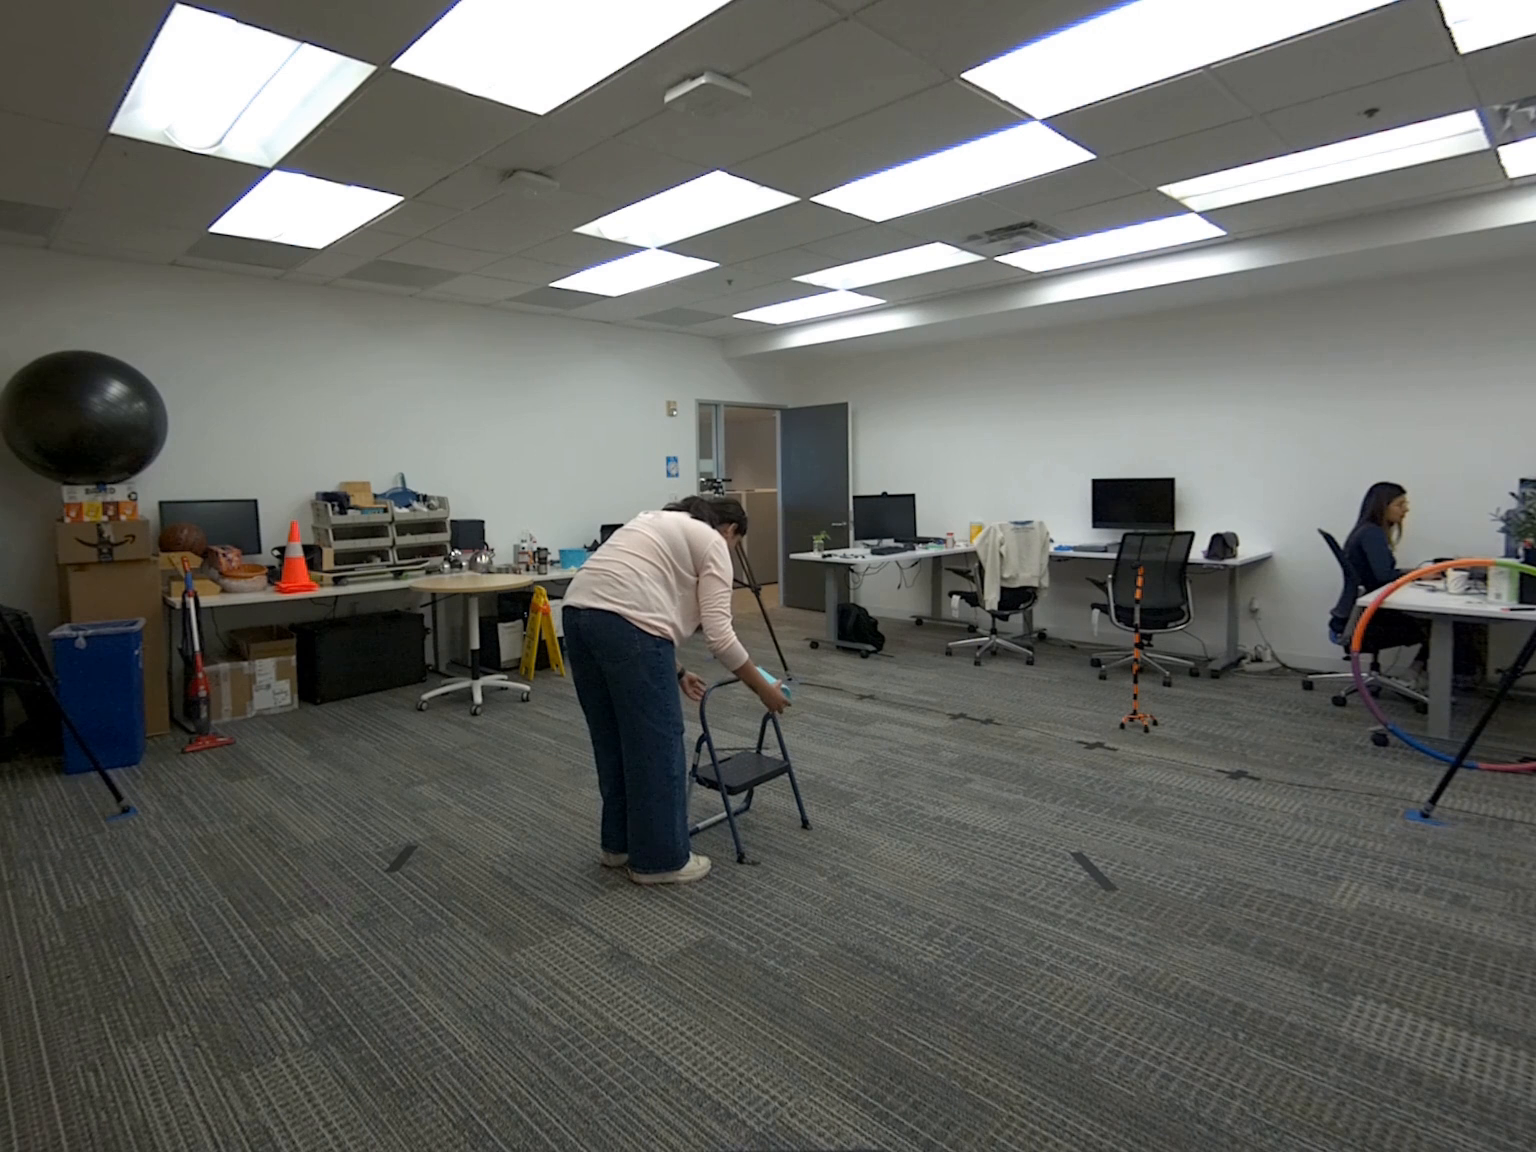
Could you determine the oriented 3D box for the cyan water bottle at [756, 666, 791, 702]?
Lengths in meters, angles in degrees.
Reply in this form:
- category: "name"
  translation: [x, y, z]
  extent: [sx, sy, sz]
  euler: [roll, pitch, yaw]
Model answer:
- category: "cyan water bottle"
  translation: [-0.007, 0.409, 3.206]
  extent: [0.090, 0.091, 0.292]
  euler: [-3, 14, -24]
